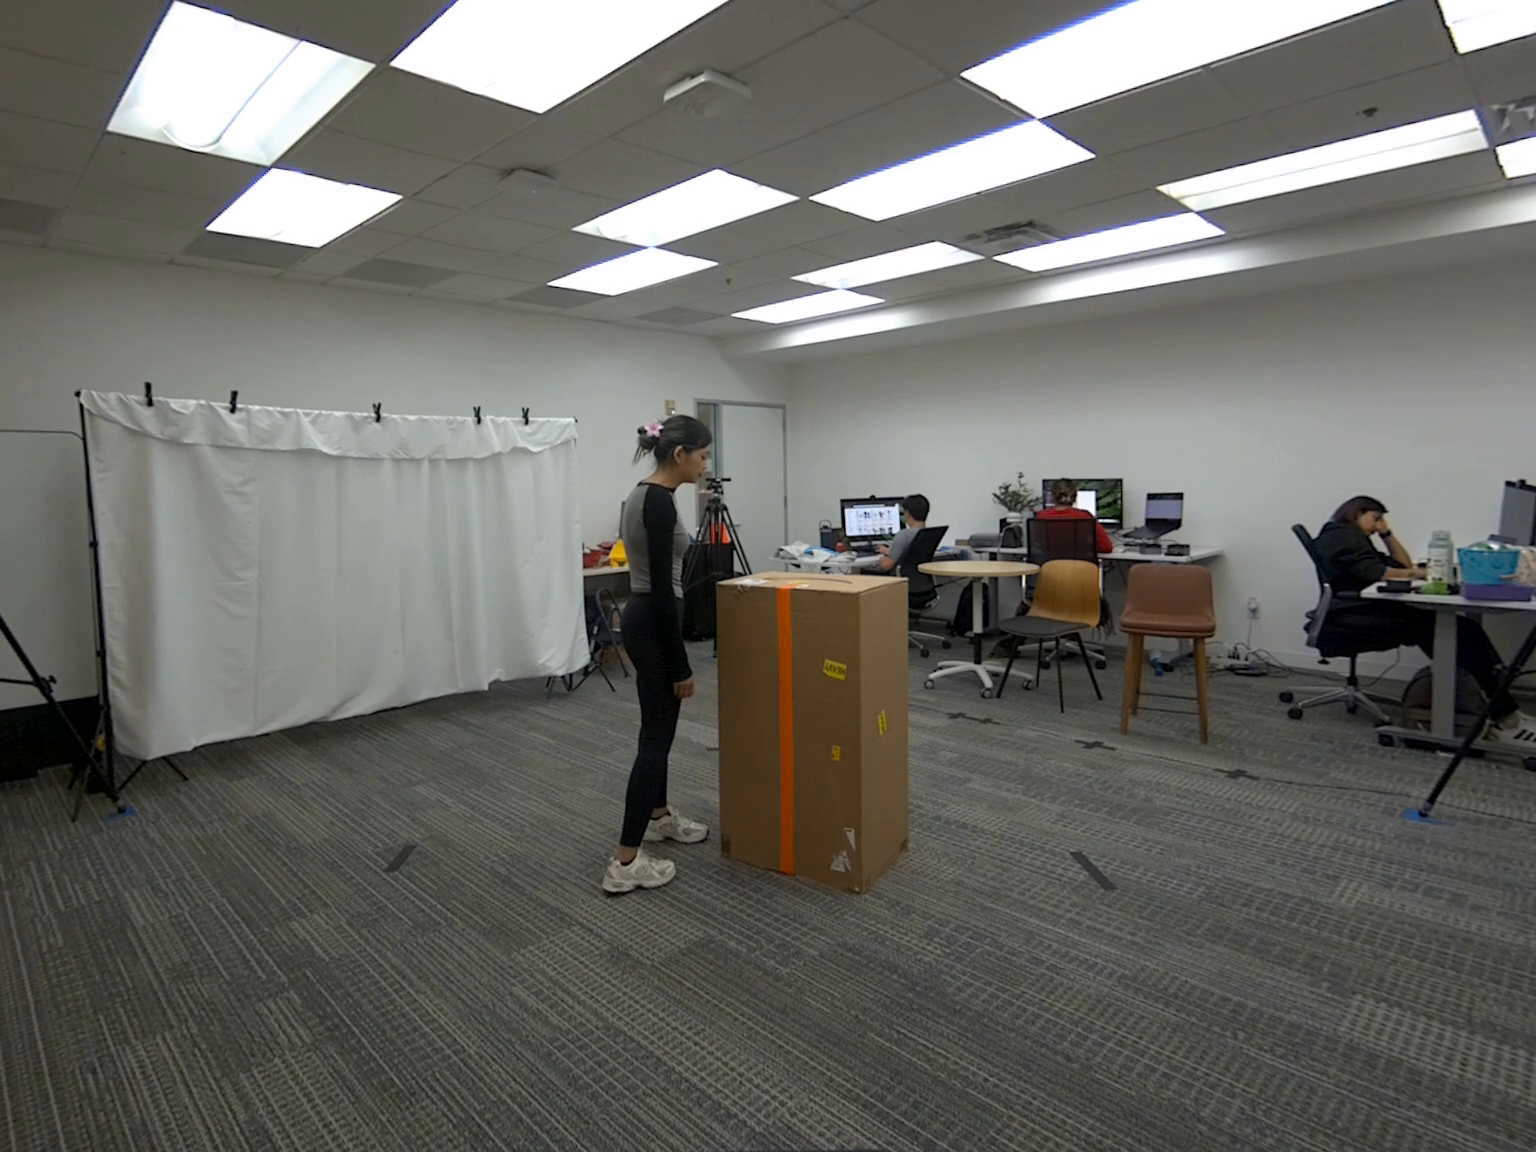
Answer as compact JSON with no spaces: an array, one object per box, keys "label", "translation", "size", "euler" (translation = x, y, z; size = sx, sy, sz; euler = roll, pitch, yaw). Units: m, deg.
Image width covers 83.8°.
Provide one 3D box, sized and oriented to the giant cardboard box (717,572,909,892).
[{"label":"giant cardboard box","translation":[0.173,0.524,3.154],"size":[0.593,1.022,0.416],"euler":[2,5,33]}]
